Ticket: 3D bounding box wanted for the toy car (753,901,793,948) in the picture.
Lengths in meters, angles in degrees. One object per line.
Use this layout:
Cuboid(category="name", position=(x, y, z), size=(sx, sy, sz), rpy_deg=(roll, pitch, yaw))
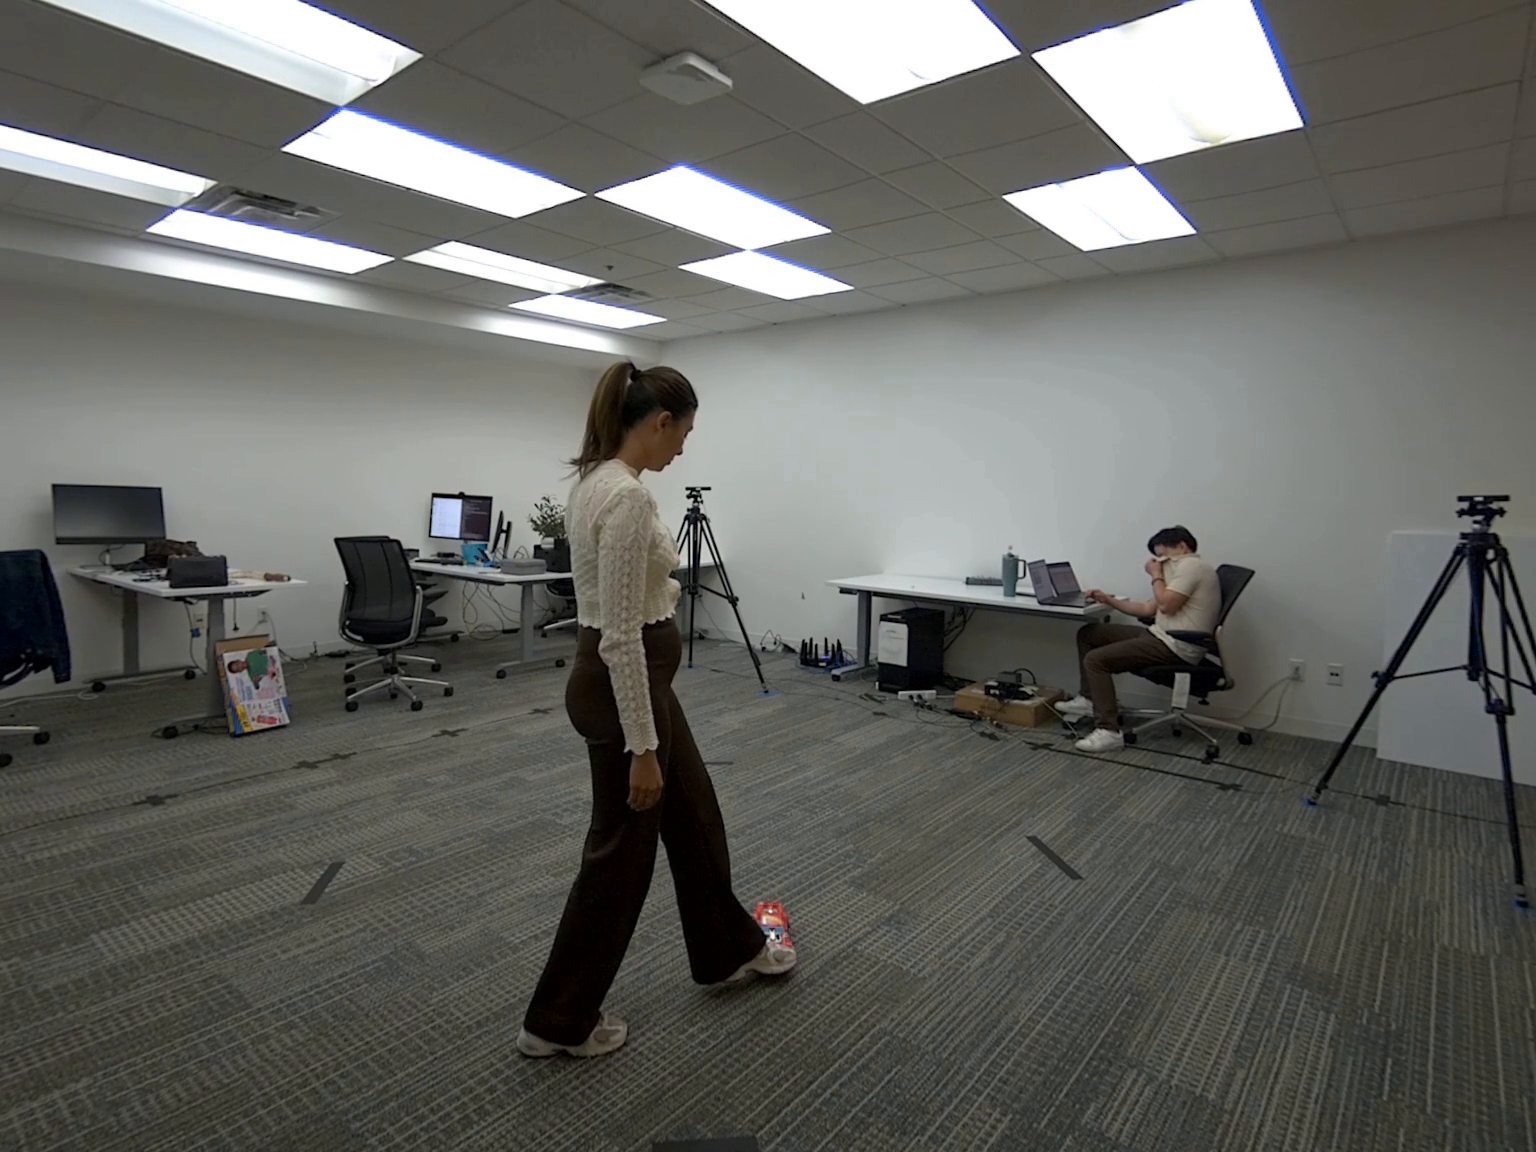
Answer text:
Cuboid(category="toy car", position=(0.003, 1.088, 2.617), size=(0.130, 0.082, 0.259), rpy_deg=(-1, 18, -2))
